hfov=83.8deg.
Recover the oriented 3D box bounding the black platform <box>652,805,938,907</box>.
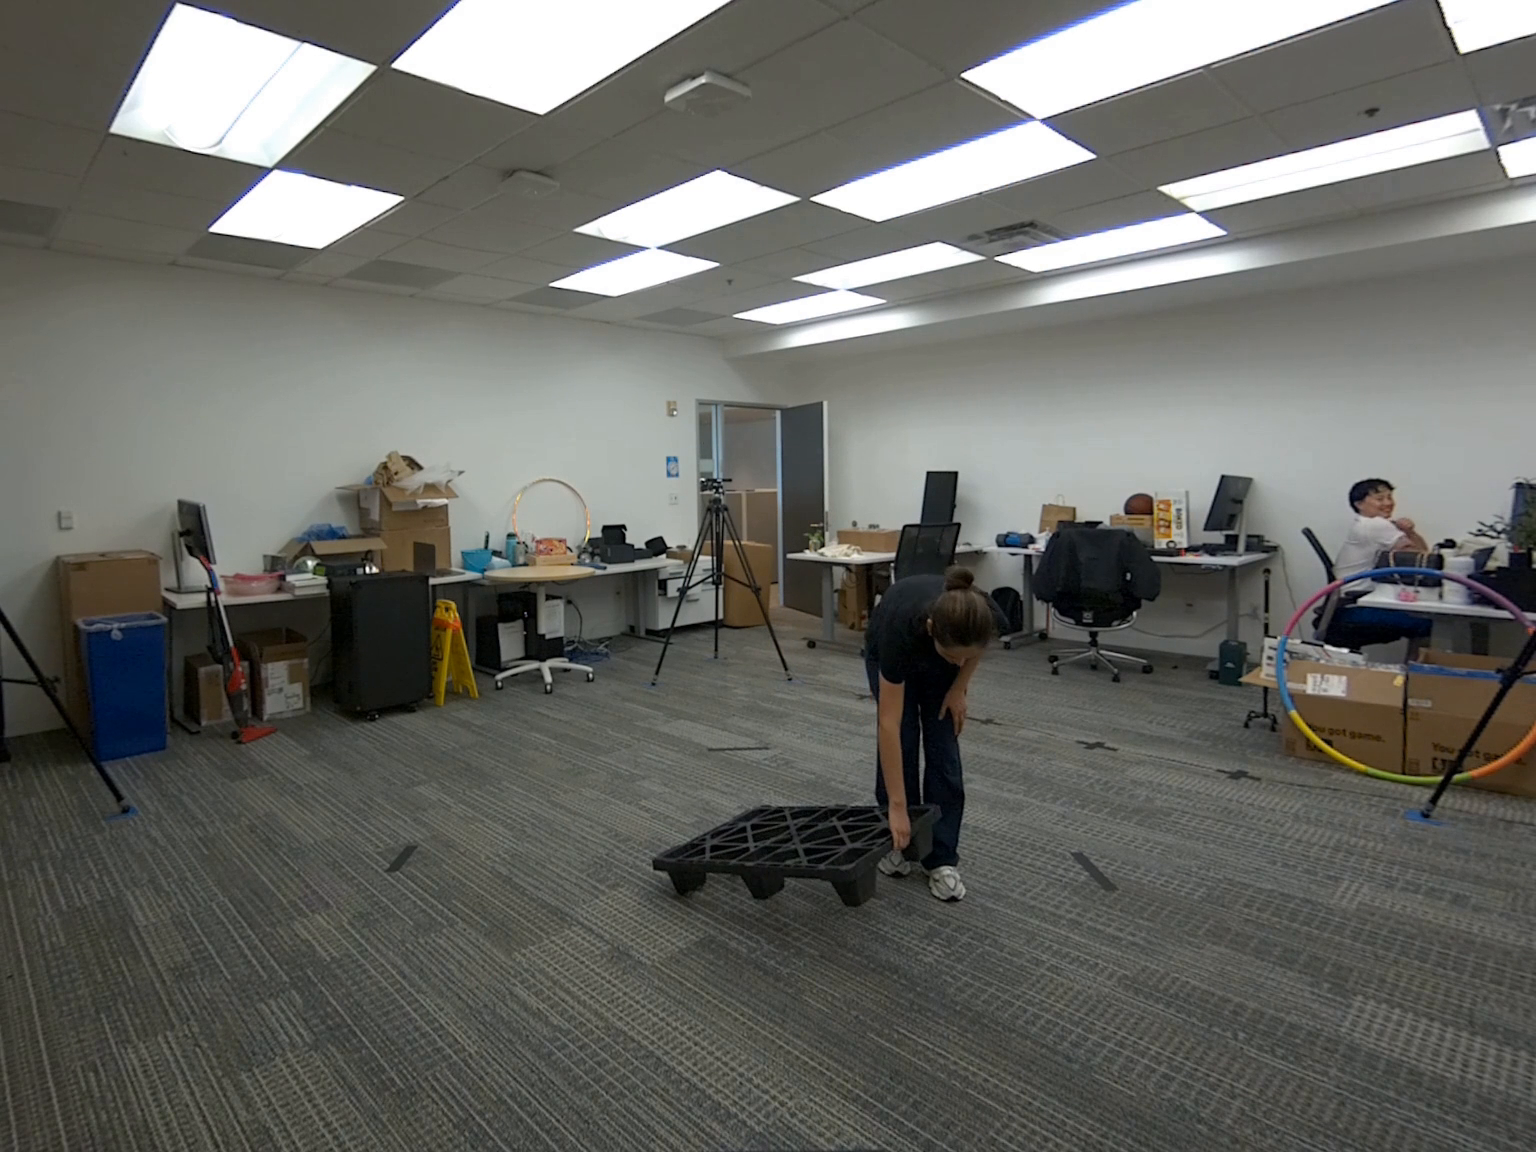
[{"bbox_3d":[0.101,0.924,2.861,0.822,0.144,0.590,-13,-3,38],"label":"black platform"}]
